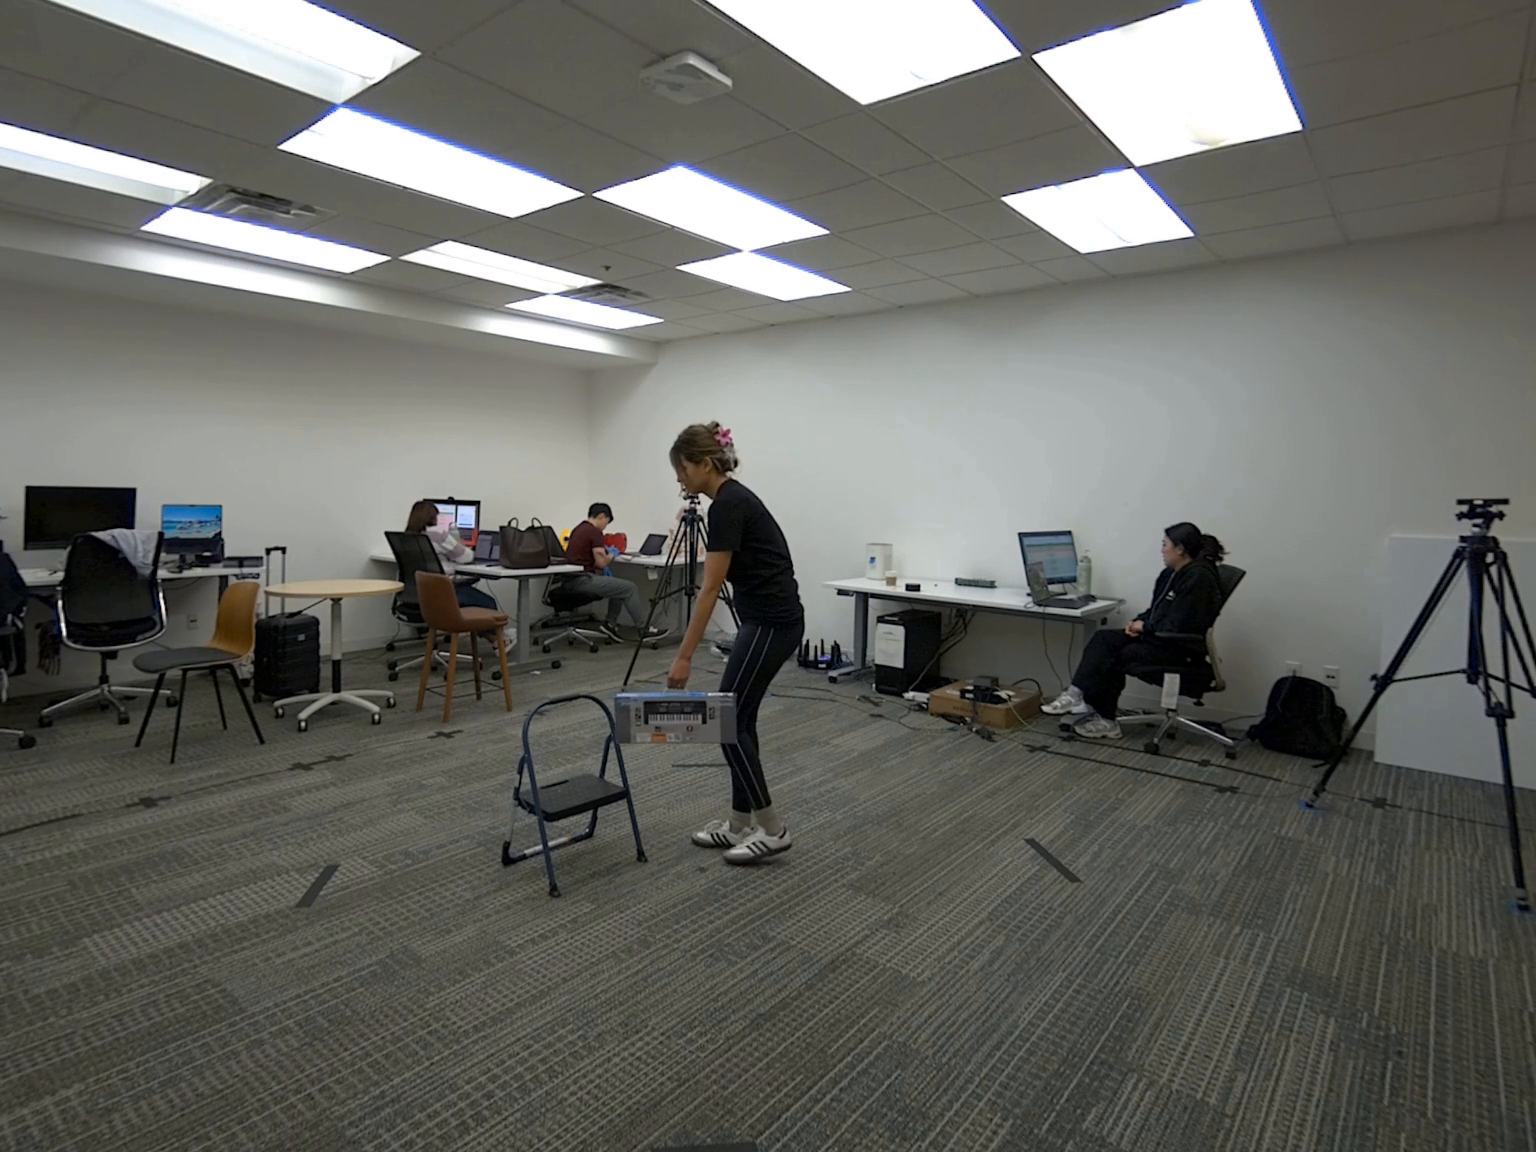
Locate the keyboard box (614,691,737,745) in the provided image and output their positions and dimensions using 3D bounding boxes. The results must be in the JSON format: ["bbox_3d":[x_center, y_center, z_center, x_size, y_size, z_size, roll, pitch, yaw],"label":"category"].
[{"bbox_3d":[-0.343,0.503,3.073,0.438,0.175,0.059,1,3,2],"label":"keyboard box"}]
